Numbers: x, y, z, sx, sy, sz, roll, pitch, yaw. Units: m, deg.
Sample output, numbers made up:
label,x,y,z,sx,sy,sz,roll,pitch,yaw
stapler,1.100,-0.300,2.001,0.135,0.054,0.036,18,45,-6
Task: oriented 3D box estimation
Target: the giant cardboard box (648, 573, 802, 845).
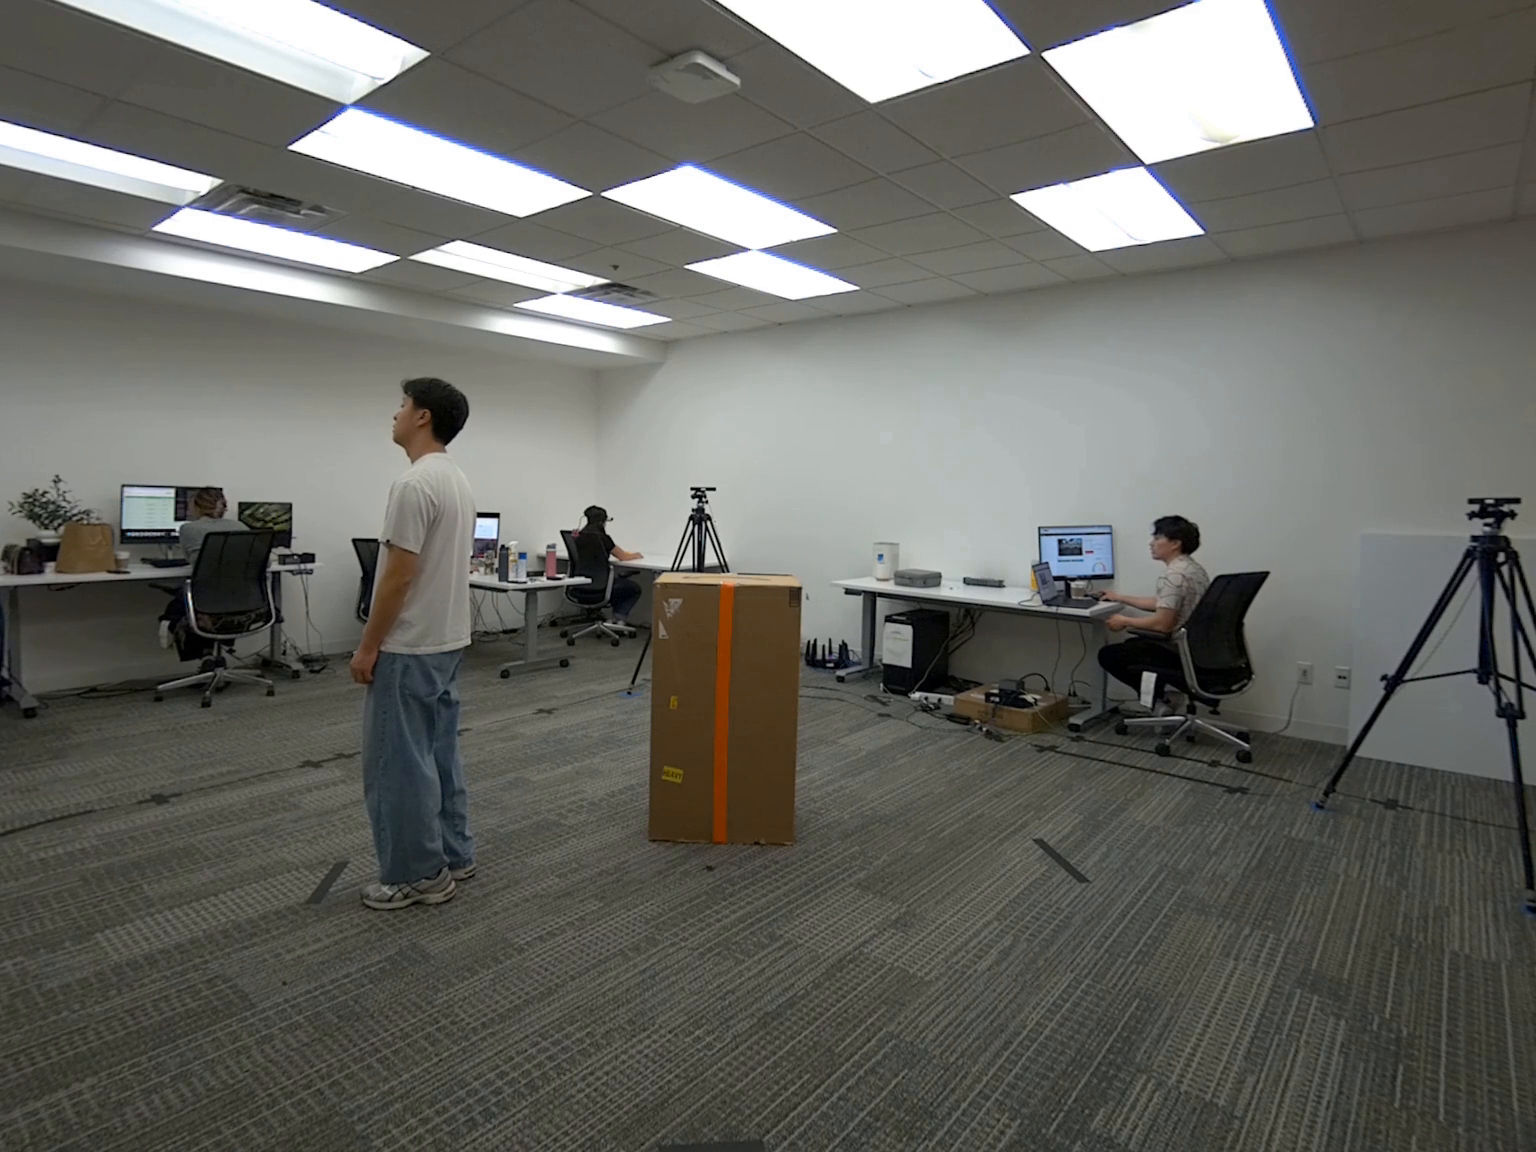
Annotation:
label,x,y,z,sx,sy,sz,roll,pitch,yaw
giant cardboard box,-0.188,0.516,3.524,0.579,1.023,0.426,2,3,2
